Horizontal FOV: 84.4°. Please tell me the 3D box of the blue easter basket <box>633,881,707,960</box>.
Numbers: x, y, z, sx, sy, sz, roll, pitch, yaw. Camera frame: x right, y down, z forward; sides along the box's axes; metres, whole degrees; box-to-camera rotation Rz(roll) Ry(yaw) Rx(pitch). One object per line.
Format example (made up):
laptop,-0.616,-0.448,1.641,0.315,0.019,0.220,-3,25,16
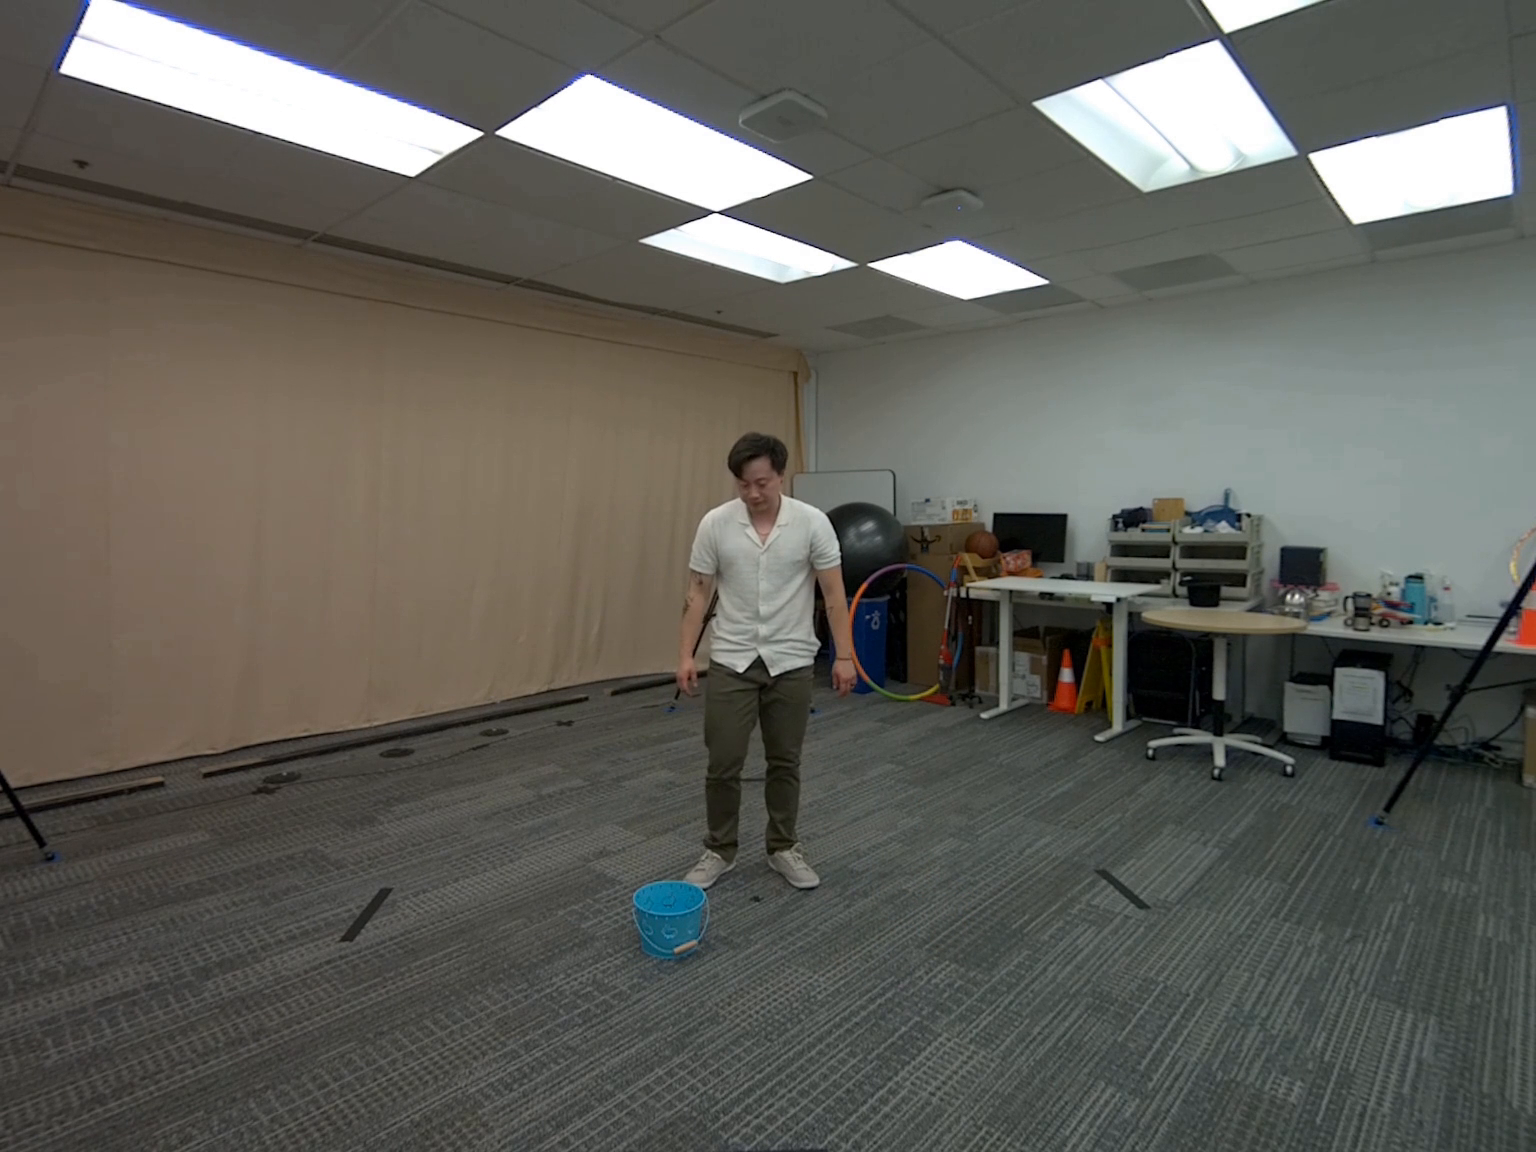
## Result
blue easter basket,-0.309,1.092,2.670,0.243,0.155,0.244,-2,4,-2
